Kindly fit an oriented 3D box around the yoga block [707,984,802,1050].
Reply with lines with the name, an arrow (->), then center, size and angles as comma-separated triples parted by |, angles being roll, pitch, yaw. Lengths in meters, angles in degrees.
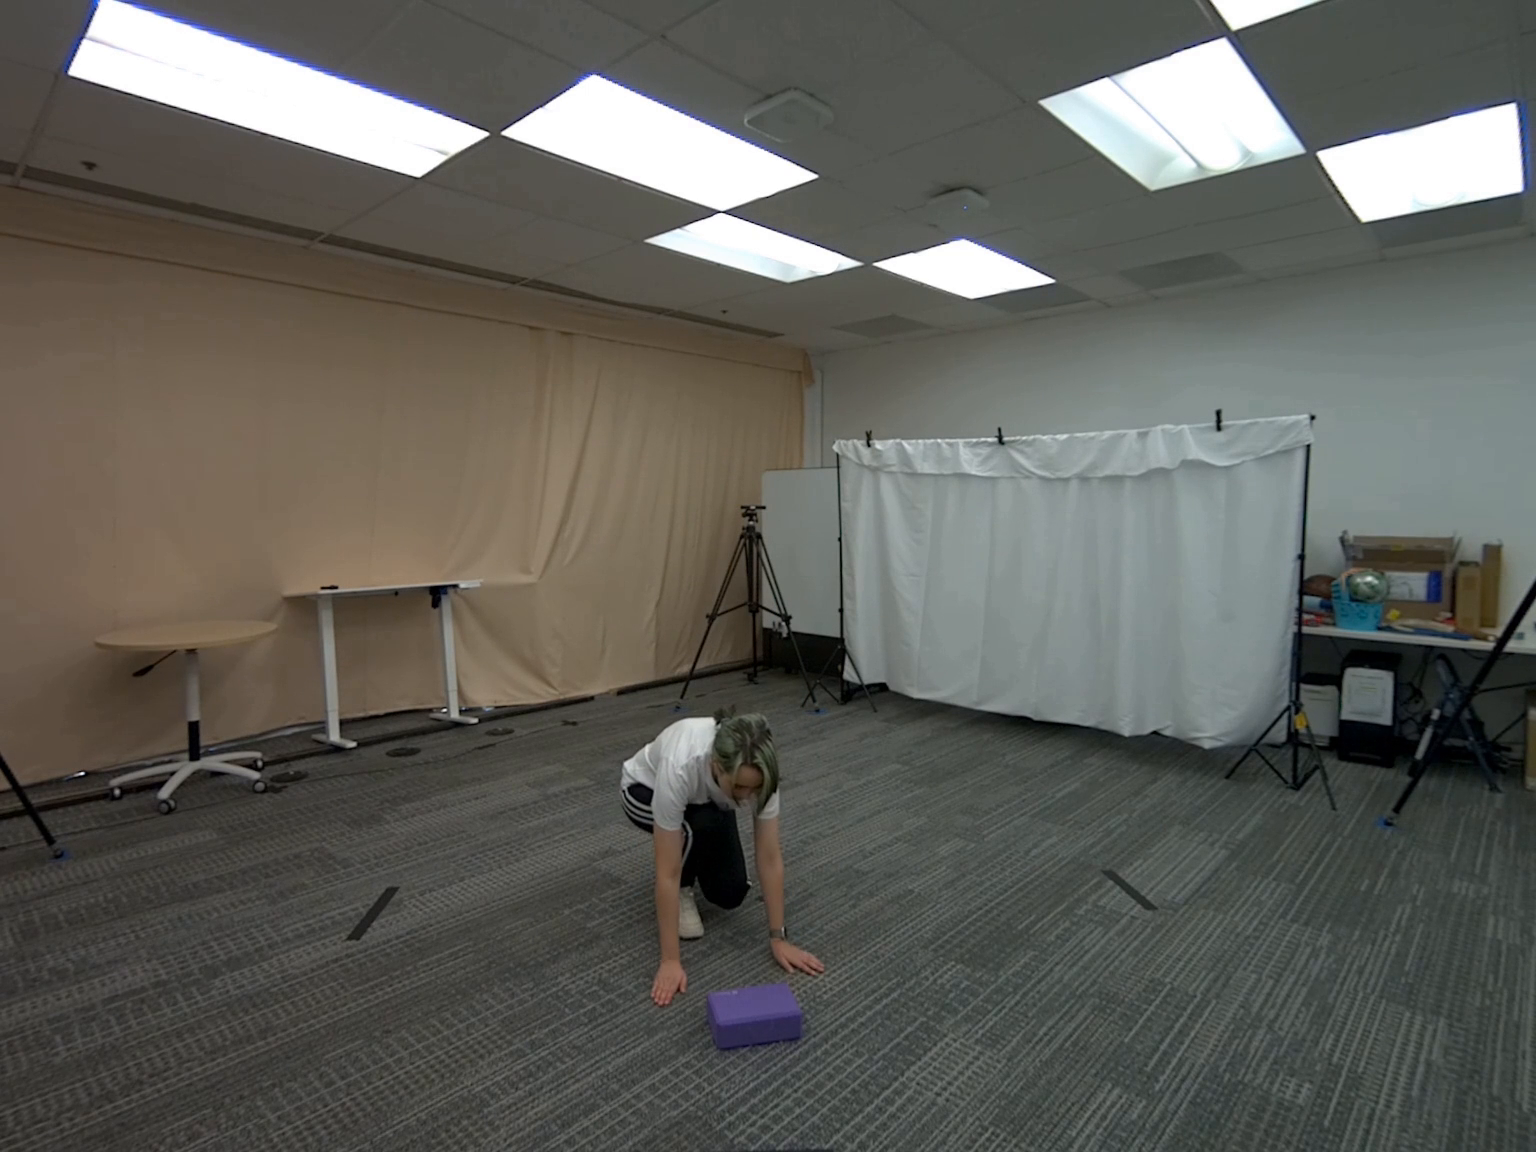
yoga block -> -0.038, 1.162, 2.242 | 0.226, 0.076, 0.151 | -1, 5, -13
